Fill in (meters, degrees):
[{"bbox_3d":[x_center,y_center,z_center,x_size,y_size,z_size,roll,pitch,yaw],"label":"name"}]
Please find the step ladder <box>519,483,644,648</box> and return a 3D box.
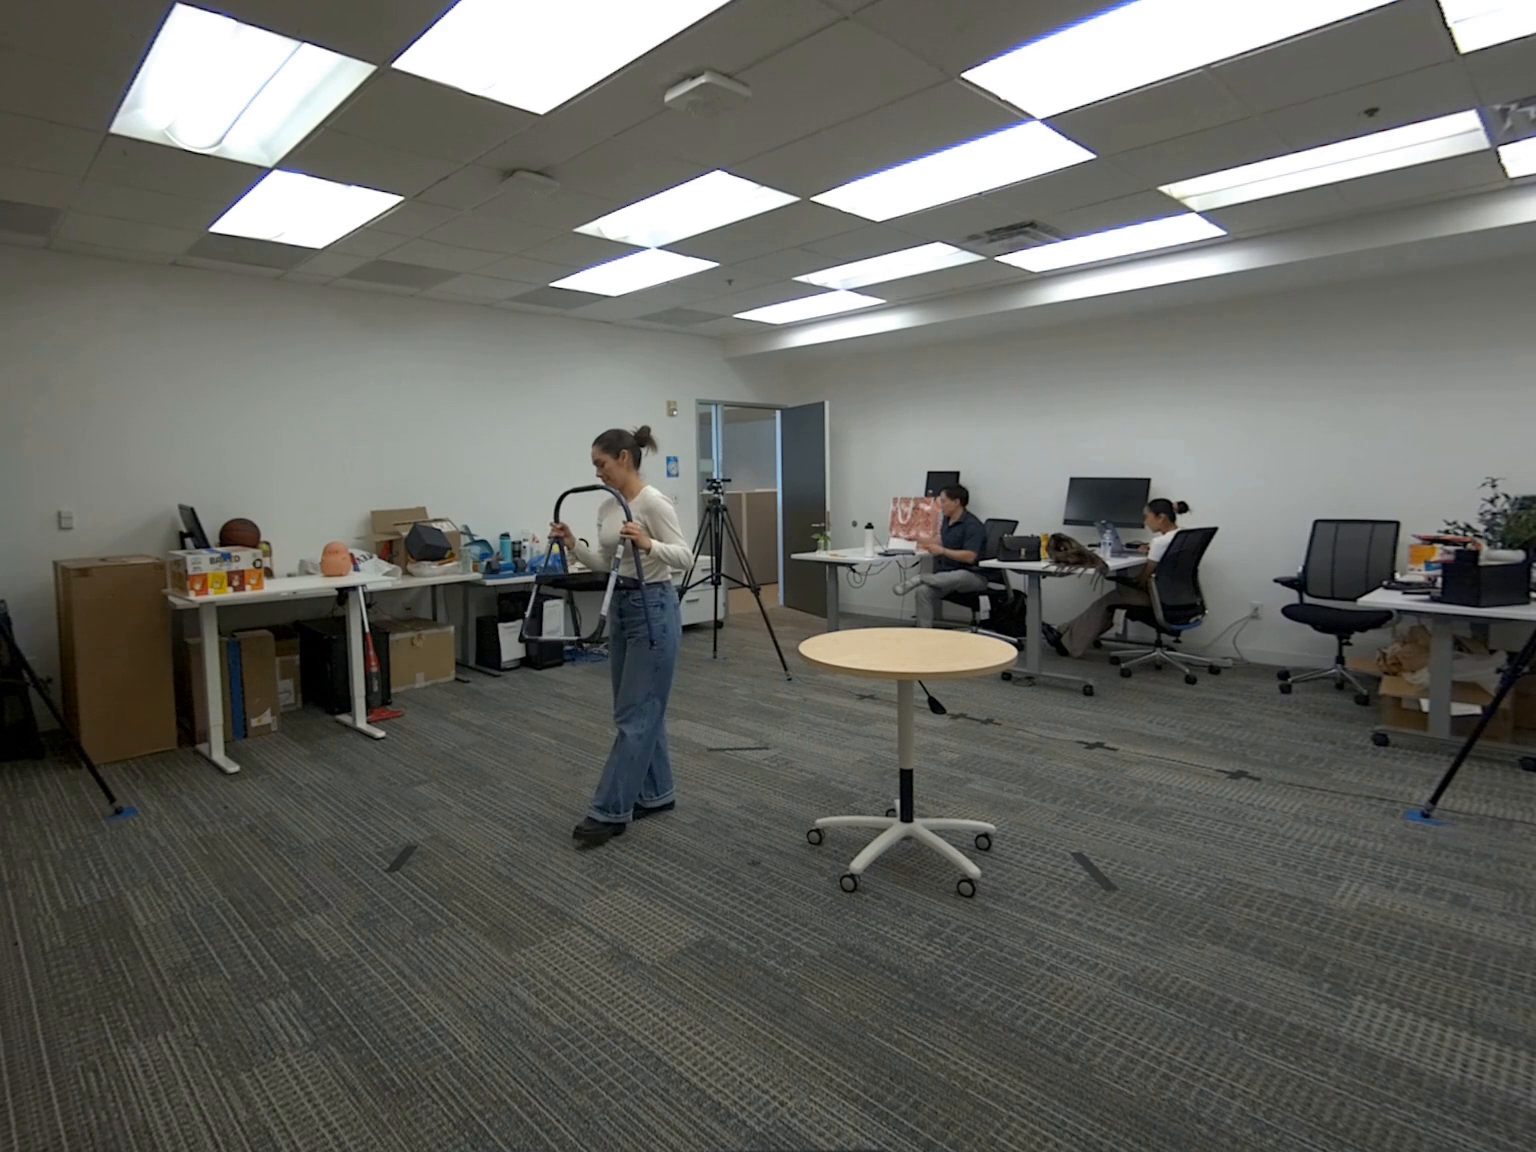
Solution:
[{"bbox_3d":[-0.672,-0.037,3.284,0.441,0.611,0.338,-4,-11,33],"label":"step ladder"}]
